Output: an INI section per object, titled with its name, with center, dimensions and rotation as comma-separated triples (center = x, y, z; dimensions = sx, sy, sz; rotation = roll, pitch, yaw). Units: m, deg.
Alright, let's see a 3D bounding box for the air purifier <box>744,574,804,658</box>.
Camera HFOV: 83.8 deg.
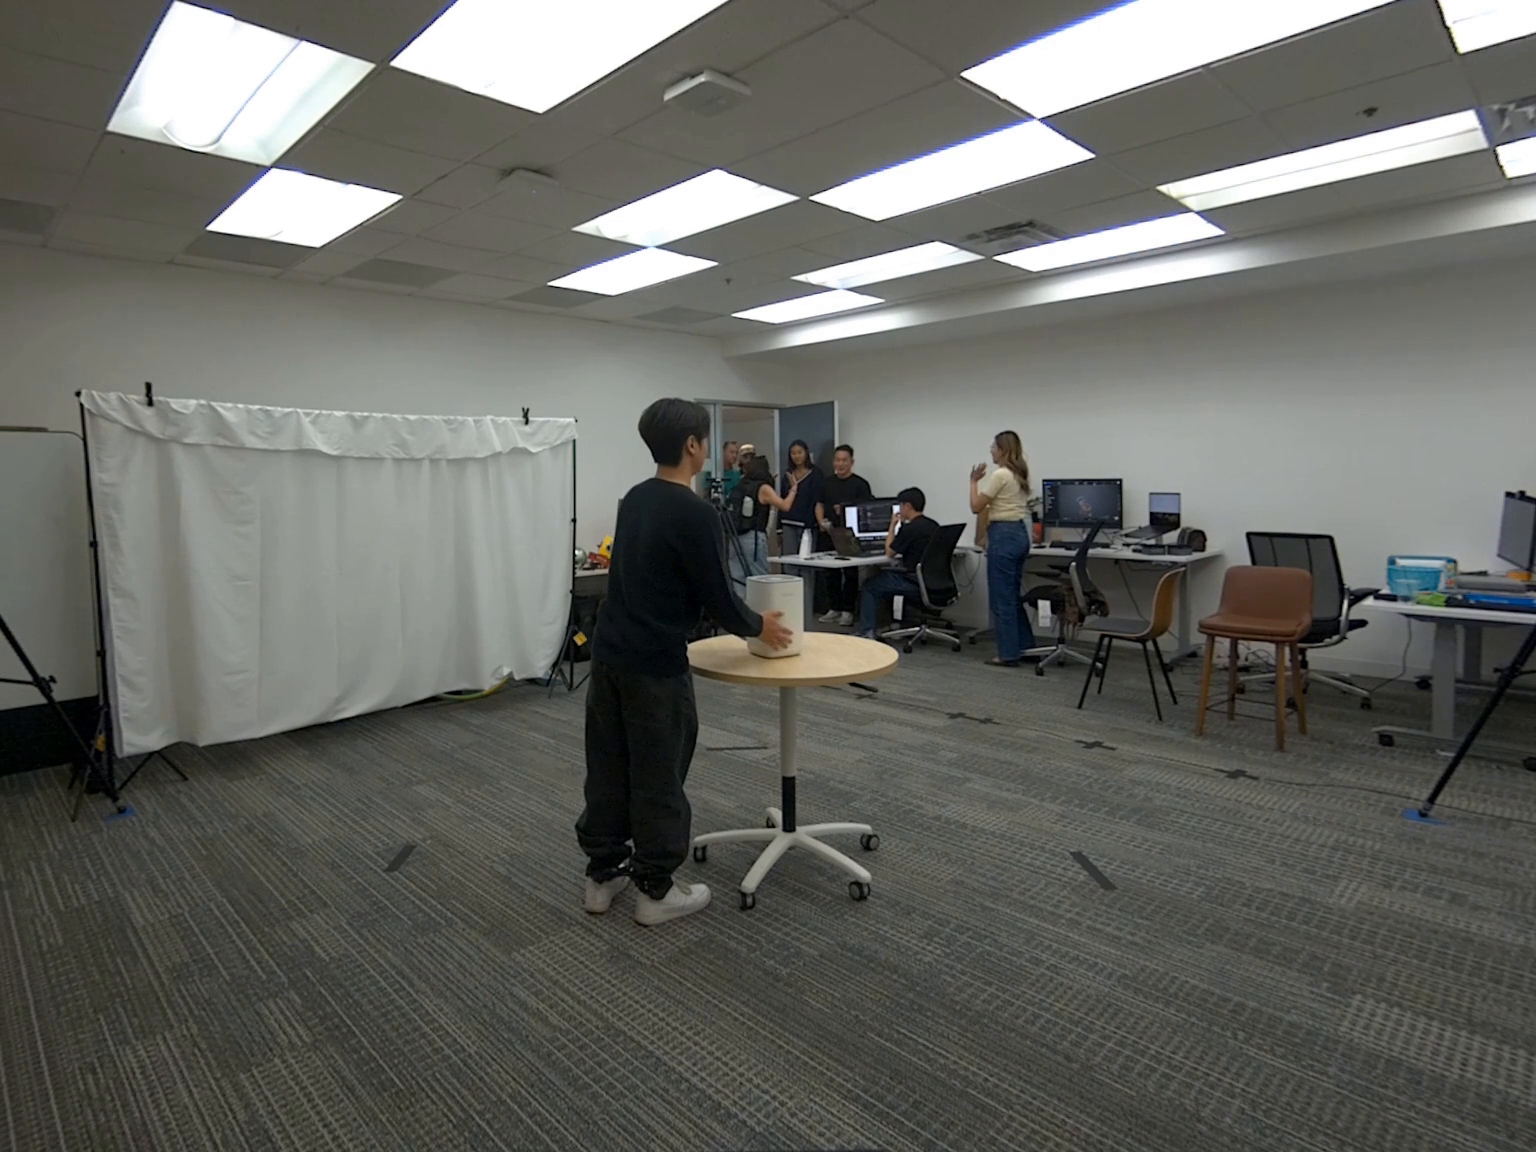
[air purifier]
center = 0.031, 0.139, 2.967
dimensions = 0.167, 0.264, 0.177
rotation = -3, 6, -33
